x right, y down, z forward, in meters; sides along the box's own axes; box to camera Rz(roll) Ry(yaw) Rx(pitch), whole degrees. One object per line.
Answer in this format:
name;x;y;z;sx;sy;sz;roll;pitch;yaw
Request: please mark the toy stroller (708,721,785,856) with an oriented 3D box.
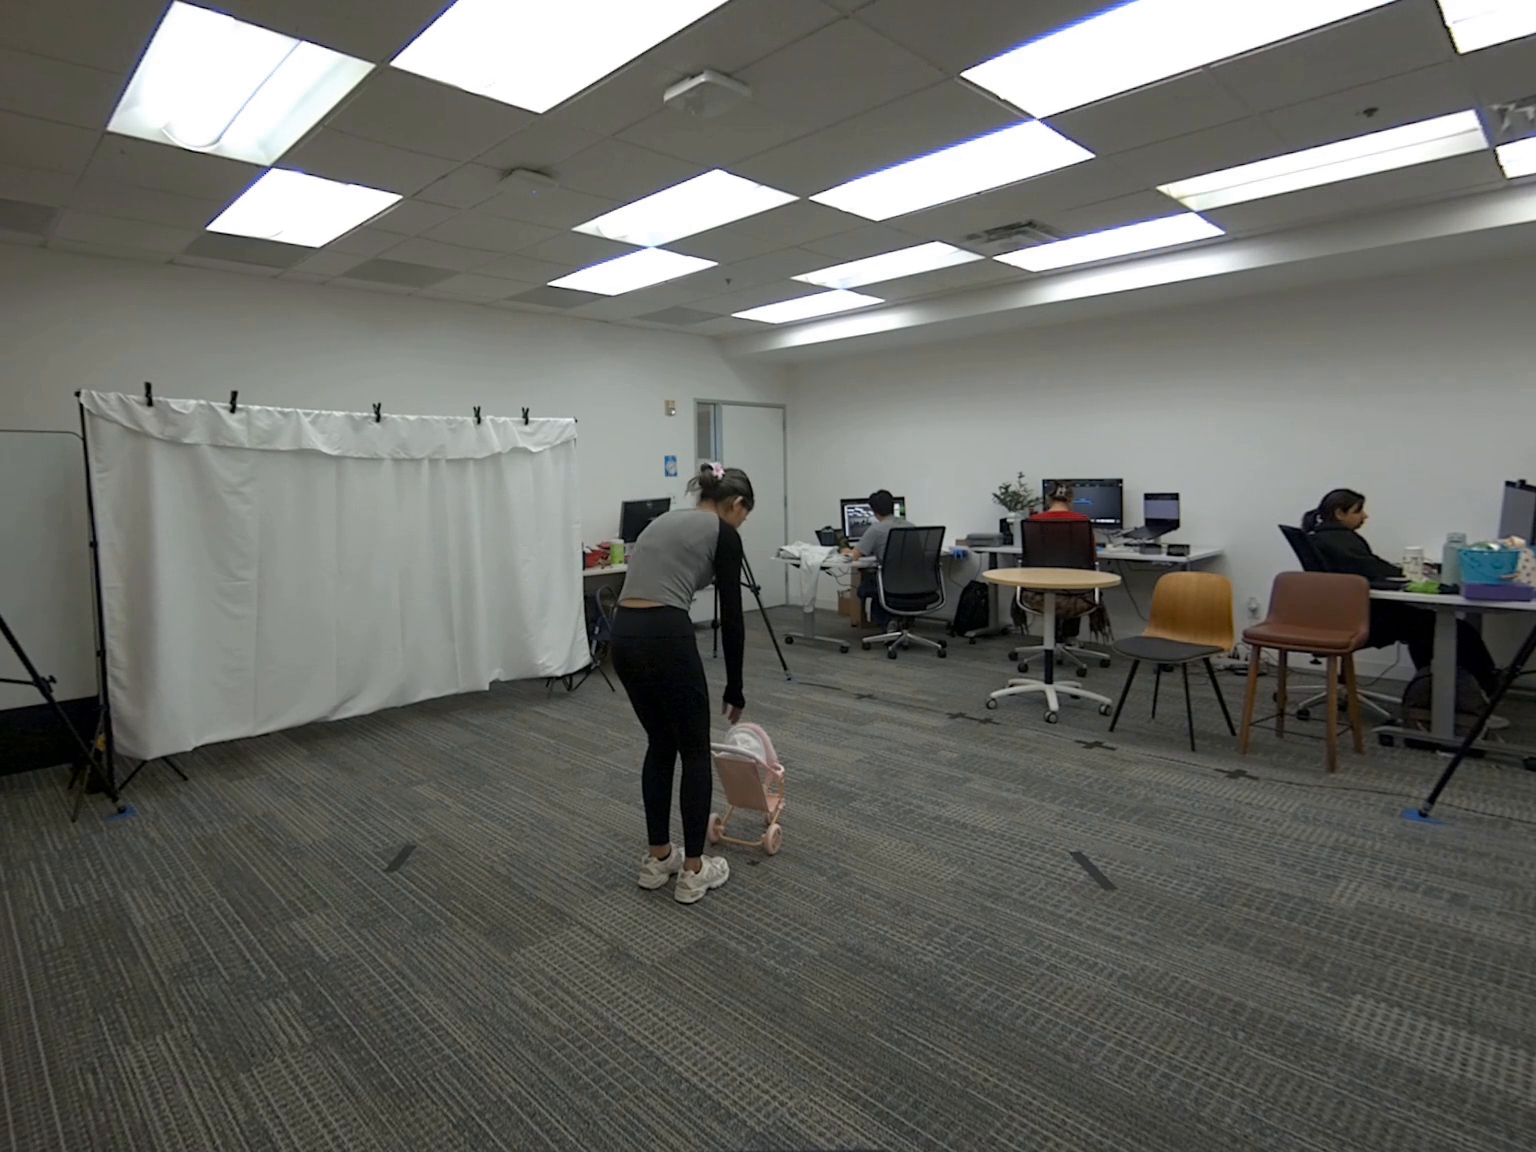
toy stroller;-0.065;0.798;3.281;0.289;0.526;0.338;2;20;29
